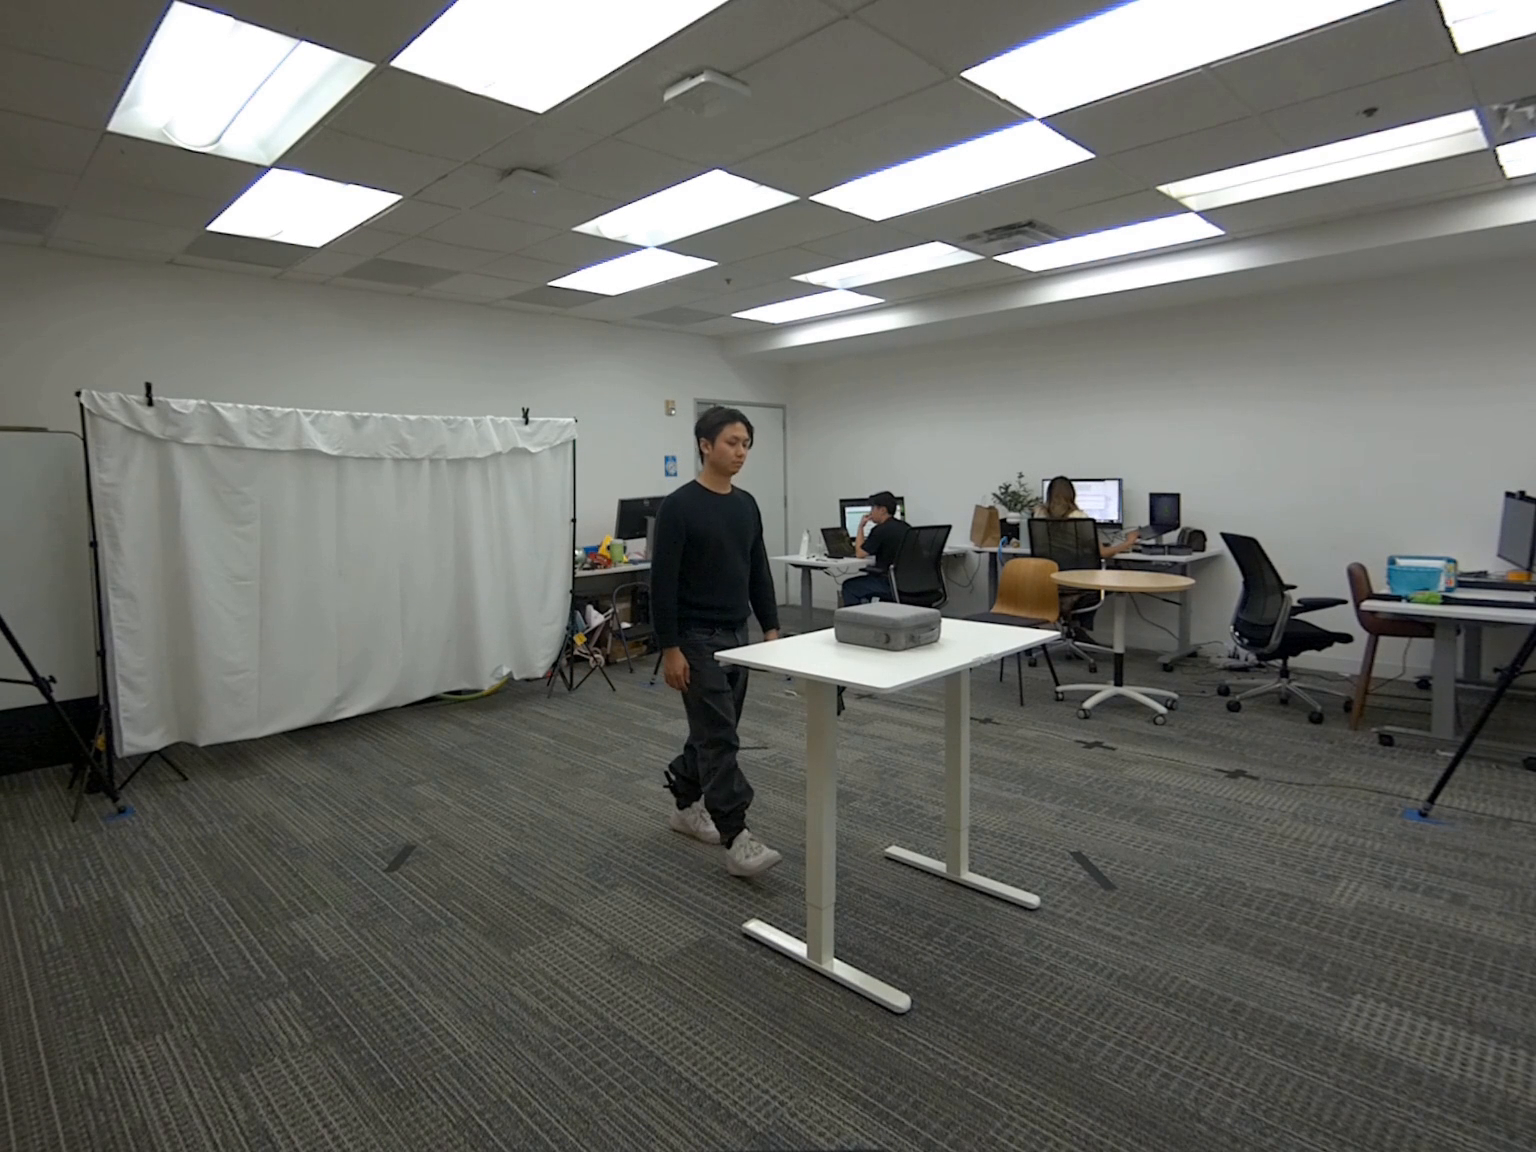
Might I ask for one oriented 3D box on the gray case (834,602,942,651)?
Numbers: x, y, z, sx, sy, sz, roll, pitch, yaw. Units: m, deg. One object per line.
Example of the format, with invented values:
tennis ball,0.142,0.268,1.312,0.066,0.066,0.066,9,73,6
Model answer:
gray case,0.381,0.153,2.651,0.269,0.104,0.250,7,8,43
